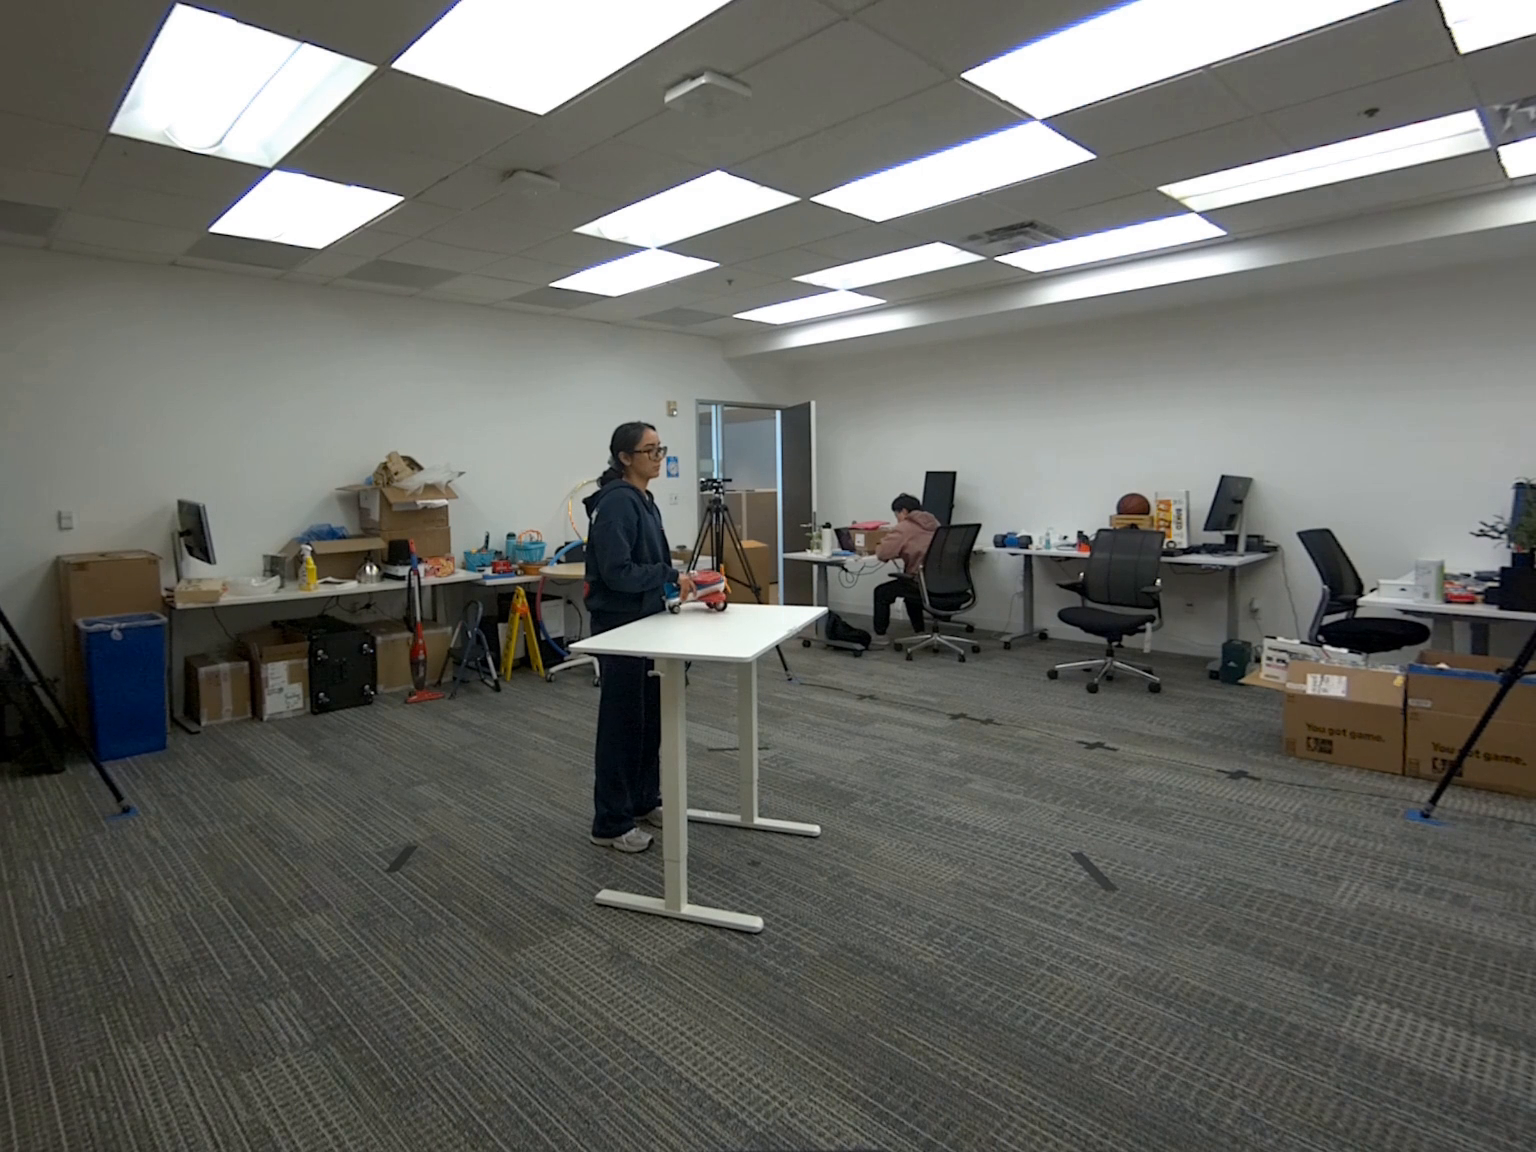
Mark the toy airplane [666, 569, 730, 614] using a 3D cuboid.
[{"bbox_3d":[-0.273,0.065,3.328,0.258,0.156,0.252,2,6,39],"label":"toy airplane"}]
